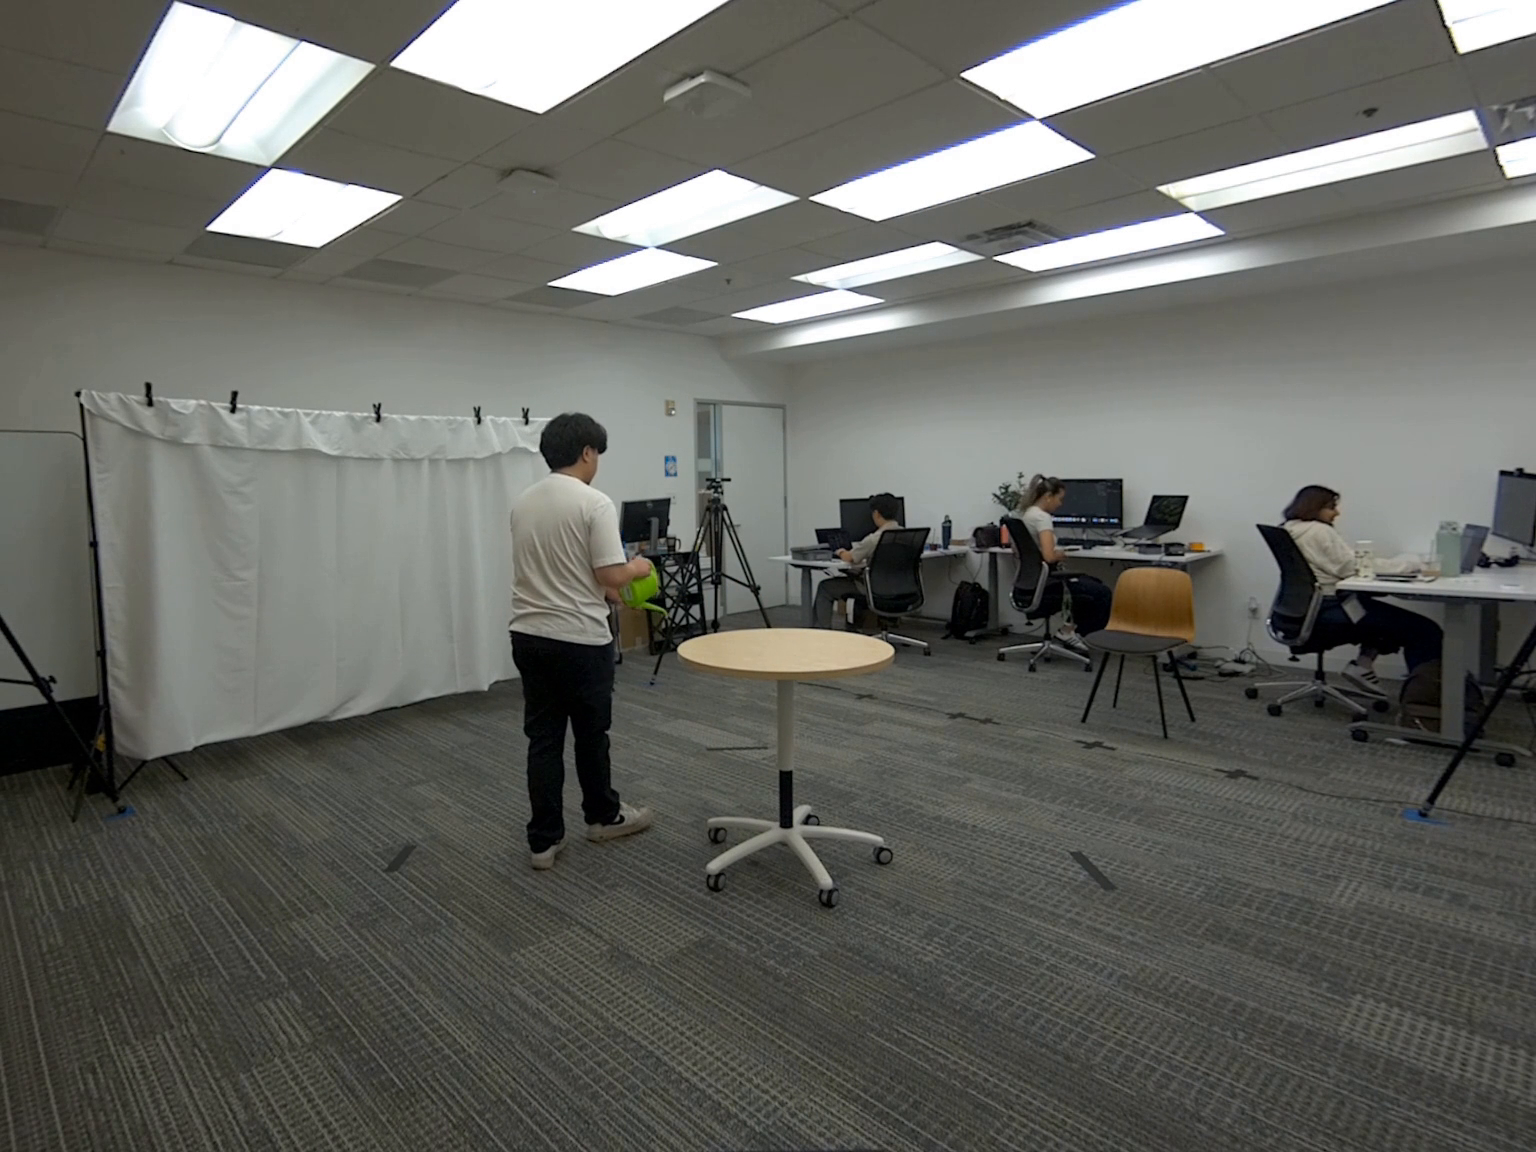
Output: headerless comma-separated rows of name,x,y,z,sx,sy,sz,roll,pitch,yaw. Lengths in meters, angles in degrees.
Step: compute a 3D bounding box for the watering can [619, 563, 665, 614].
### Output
watering can,-0.489,0.075,3.445,0.100,0.275,0.175,-14,13,43
